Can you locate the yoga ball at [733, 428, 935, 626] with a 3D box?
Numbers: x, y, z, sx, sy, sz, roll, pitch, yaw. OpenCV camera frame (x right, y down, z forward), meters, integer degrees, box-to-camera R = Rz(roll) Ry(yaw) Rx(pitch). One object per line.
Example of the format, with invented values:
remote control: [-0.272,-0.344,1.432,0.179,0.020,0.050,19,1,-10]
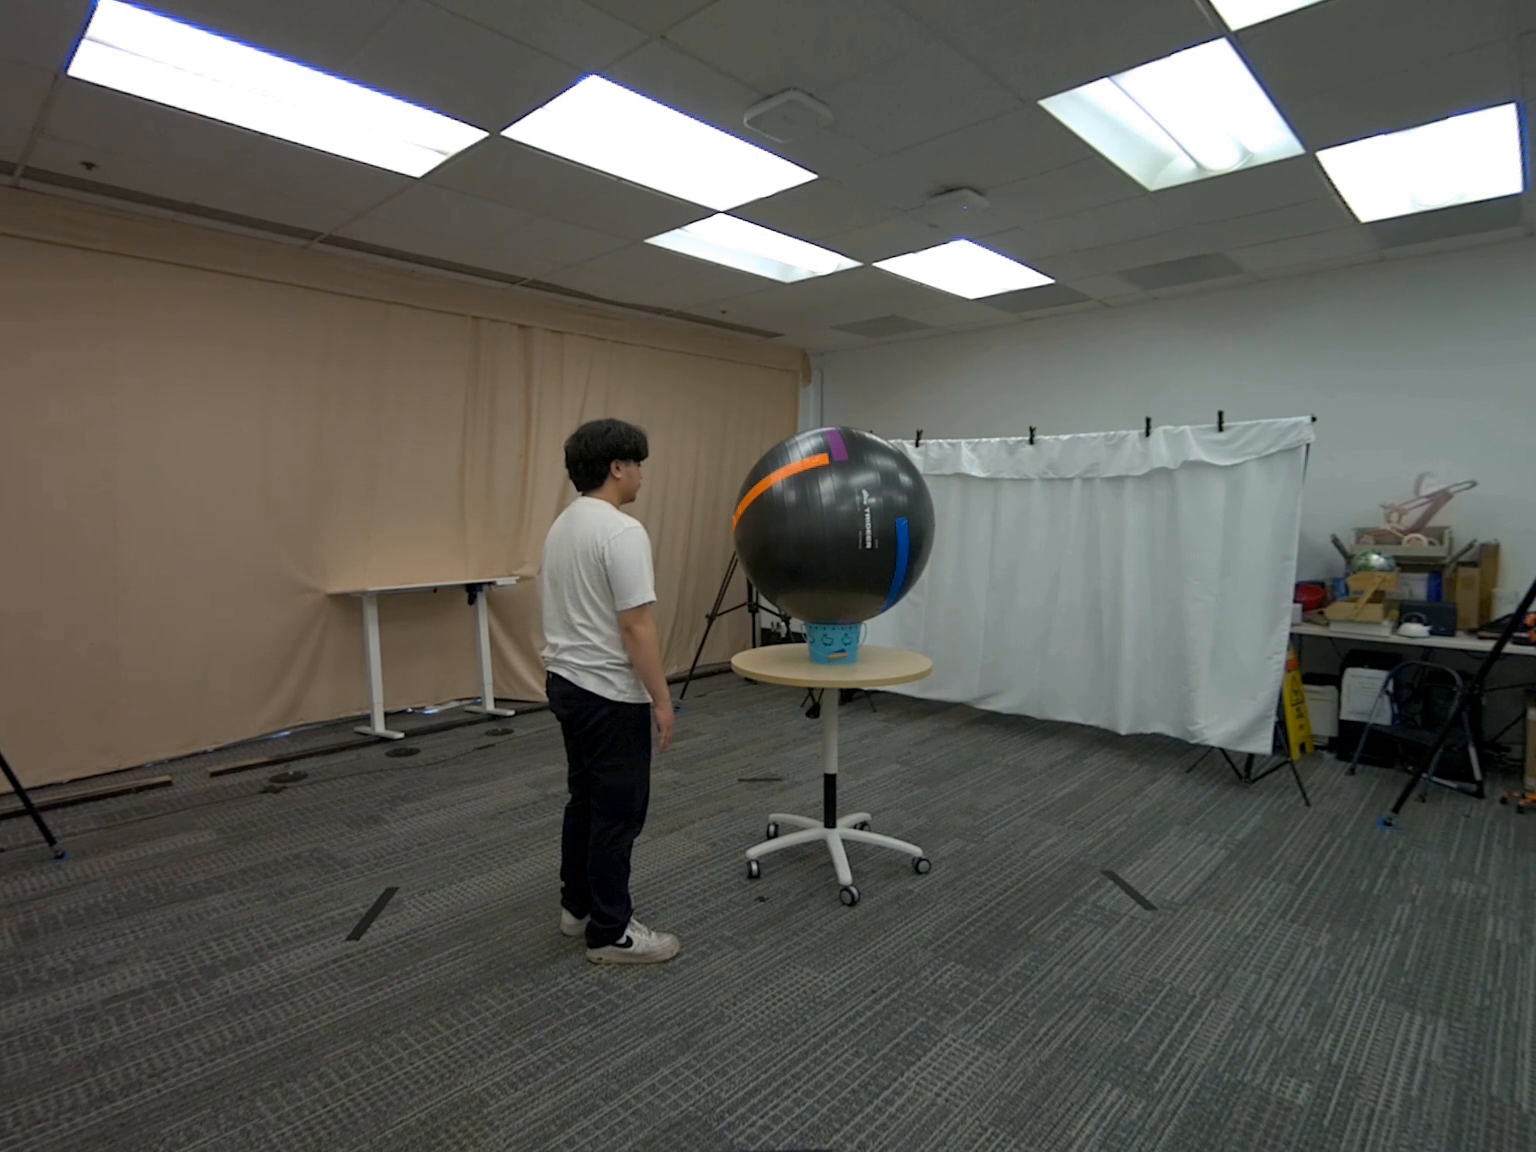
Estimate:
yoga ball: [0.247,-0.184,3.223,0.757,0.756,0.761,0,4,-2]
